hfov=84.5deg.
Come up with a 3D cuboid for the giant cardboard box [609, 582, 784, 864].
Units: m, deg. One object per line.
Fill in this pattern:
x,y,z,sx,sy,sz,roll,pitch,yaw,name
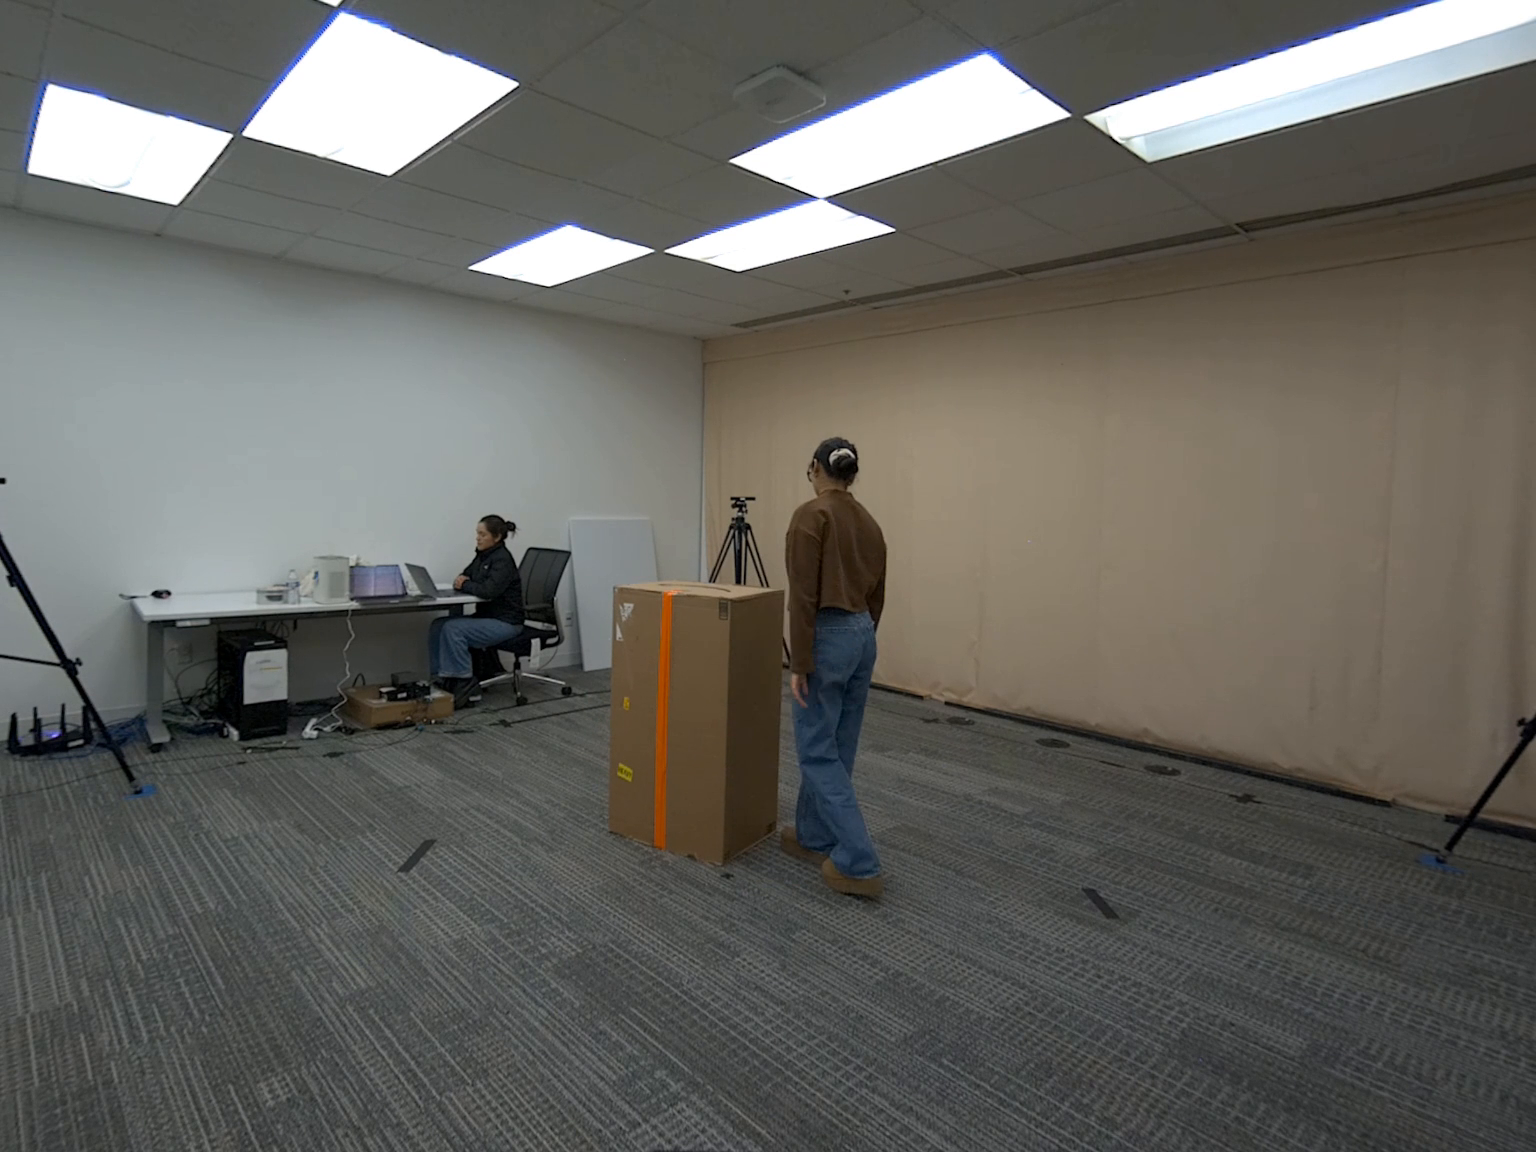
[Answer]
-0.302,0.560,3.487,0.591,1.023,0.417,4,4,33,giant cardboard box
